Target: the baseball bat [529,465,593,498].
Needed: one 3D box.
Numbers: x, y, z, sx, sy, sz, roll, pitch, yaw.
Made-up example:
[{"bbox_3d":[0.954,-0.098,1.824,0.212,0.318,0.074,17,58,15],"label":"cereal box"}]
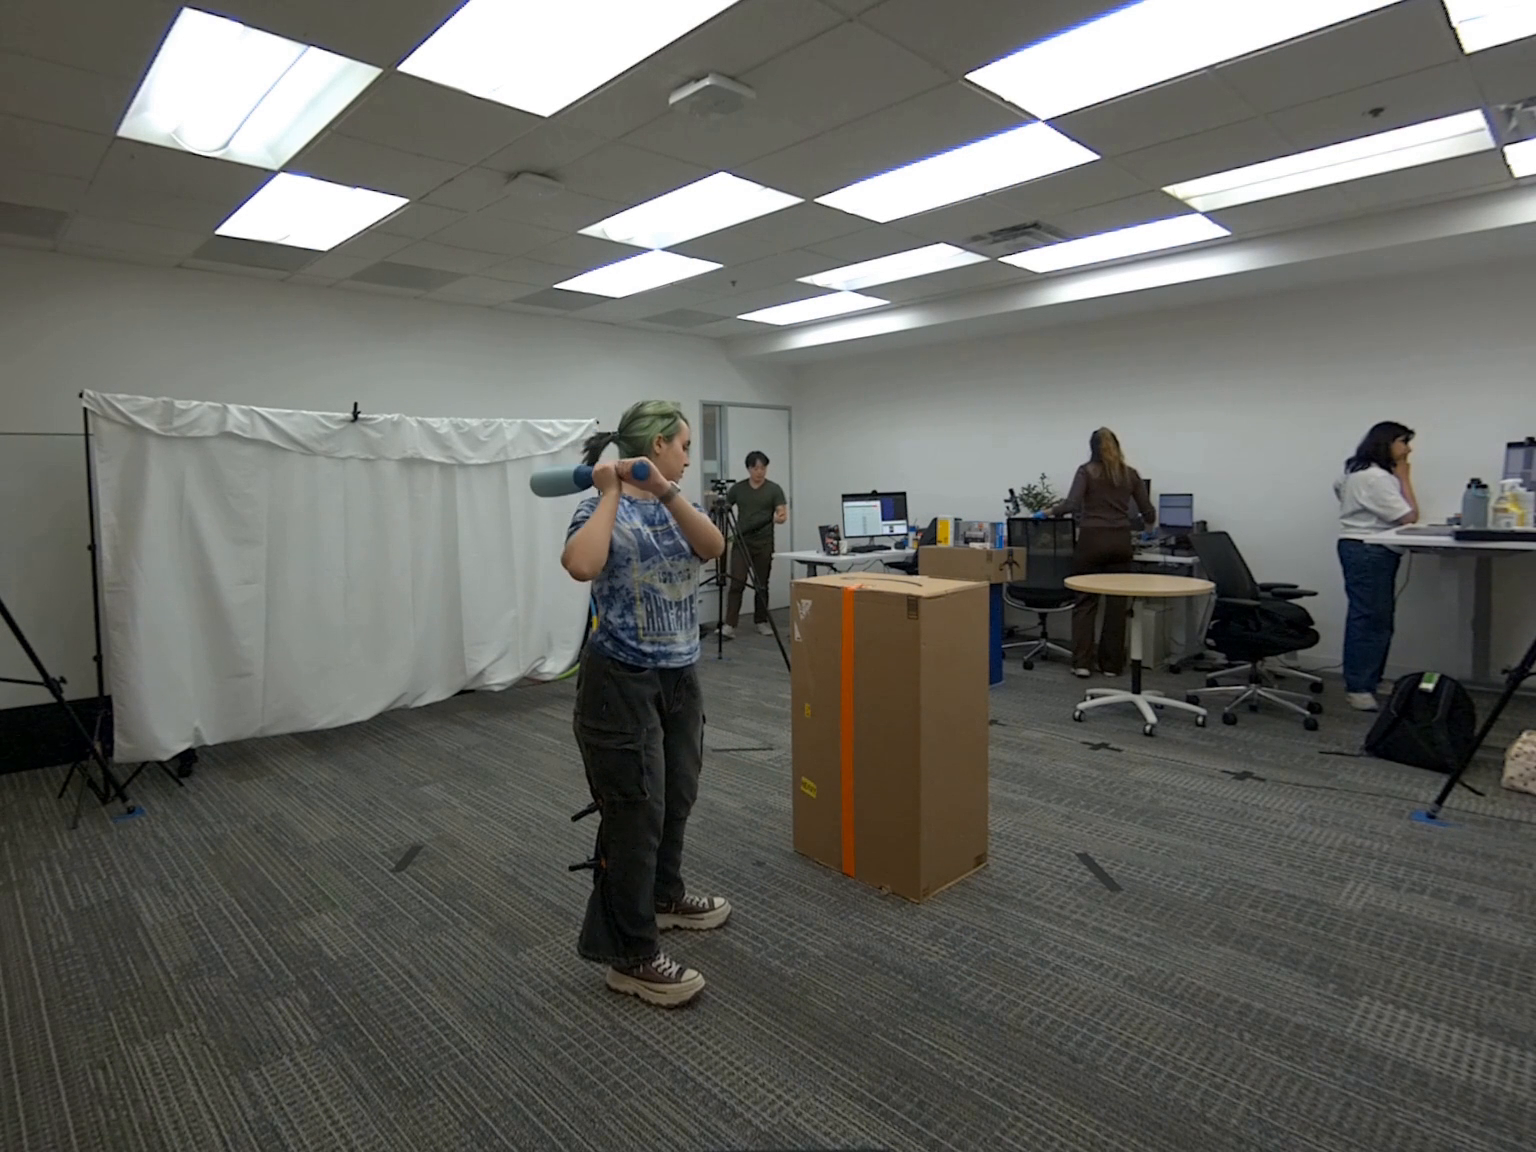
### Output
[{"bbox_3d":[-0.480,-0.271,2.323,0.087,0.089,0.559,-5,4,-41],"label":"baseball bat"}]
